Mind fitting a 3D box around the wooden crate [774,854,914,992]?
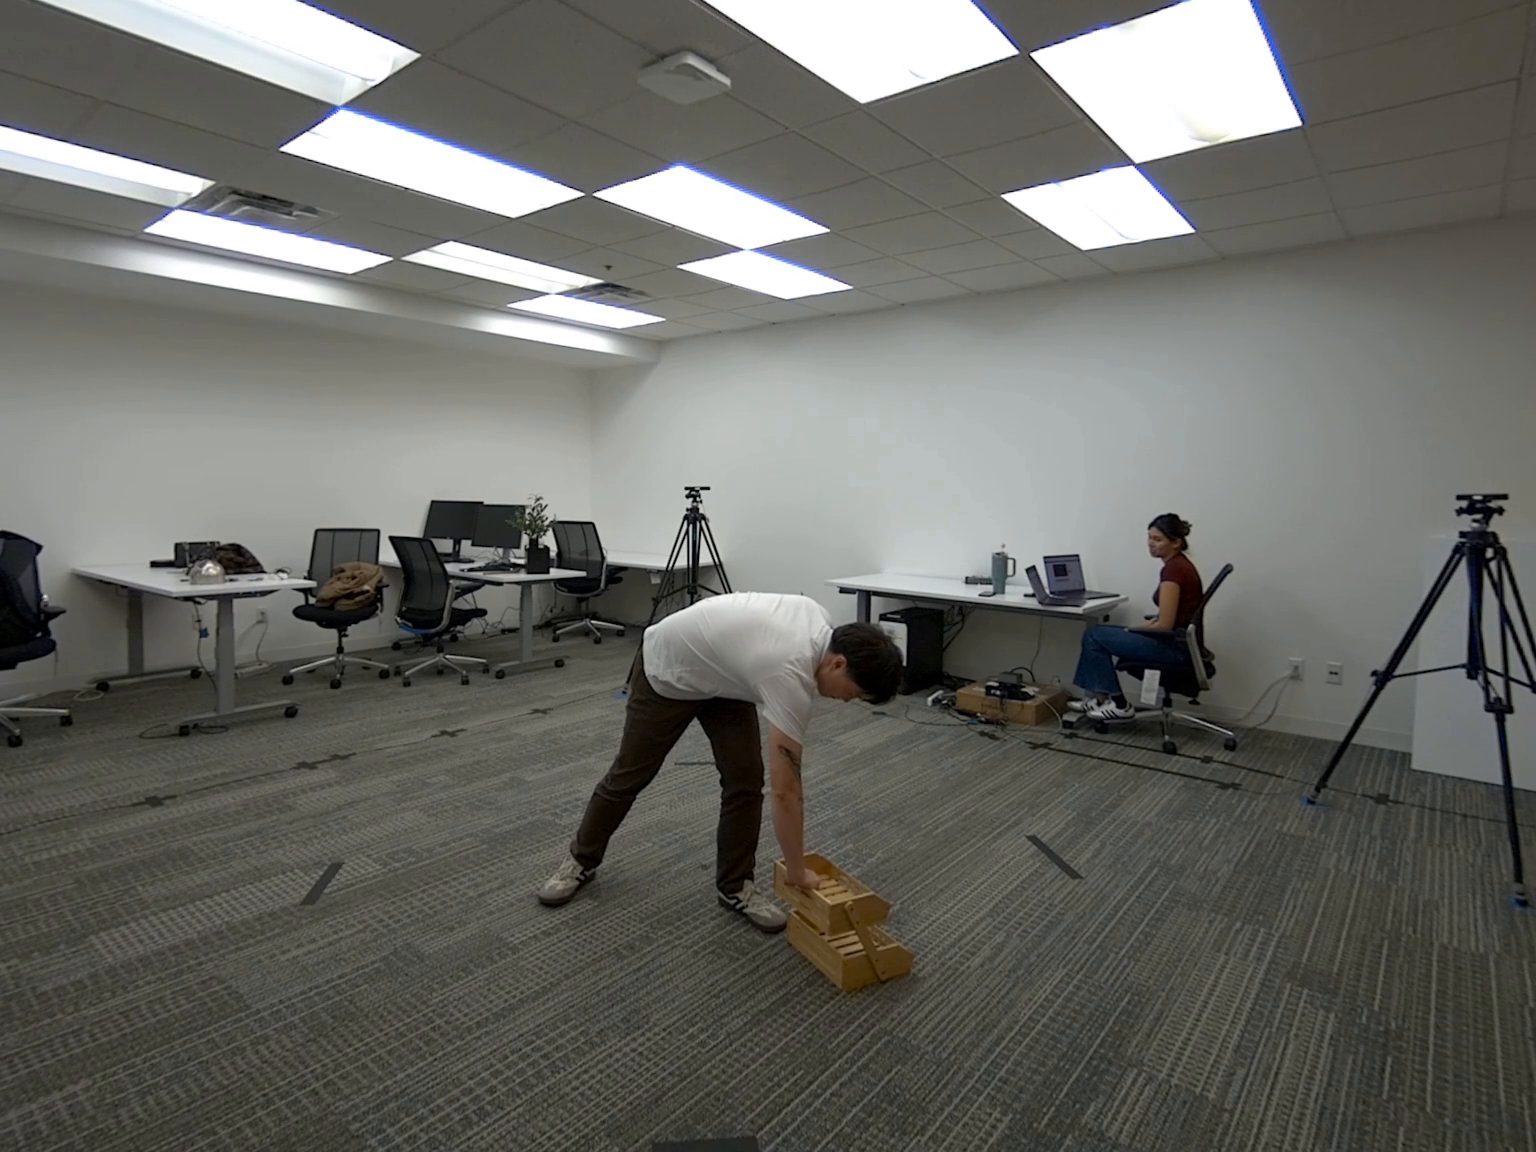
[{"bbox_3d":[0.218,0.994,2.525,0.294,0.272,0.334,-2,5,-29],"label":"wooden crate"}]
